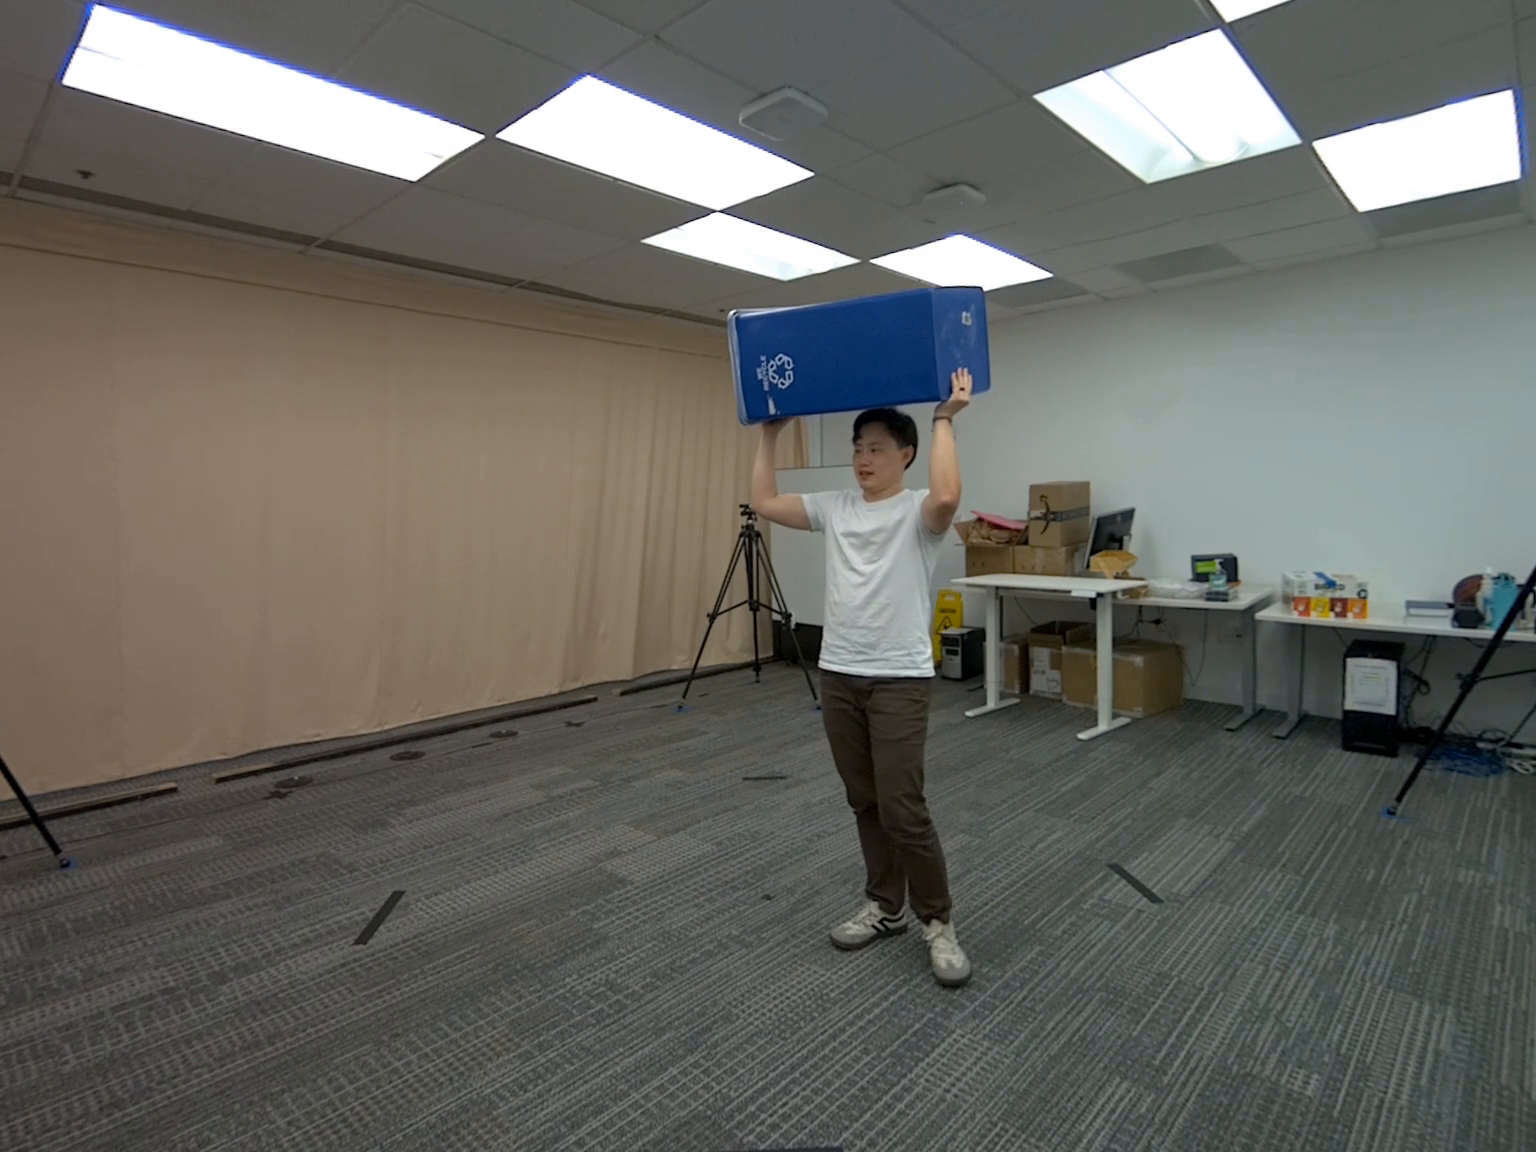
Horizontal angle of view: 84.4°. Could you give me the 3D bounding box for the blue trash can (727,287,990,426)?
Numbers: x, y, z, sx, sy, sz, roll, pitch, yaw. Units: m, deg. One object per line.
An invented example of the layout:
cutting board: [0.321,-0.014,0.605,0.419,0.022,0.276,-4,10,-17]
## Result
blue trash can: [0.270,-0.682,2.584,0.737,0.375,0.365,5,17,43]
